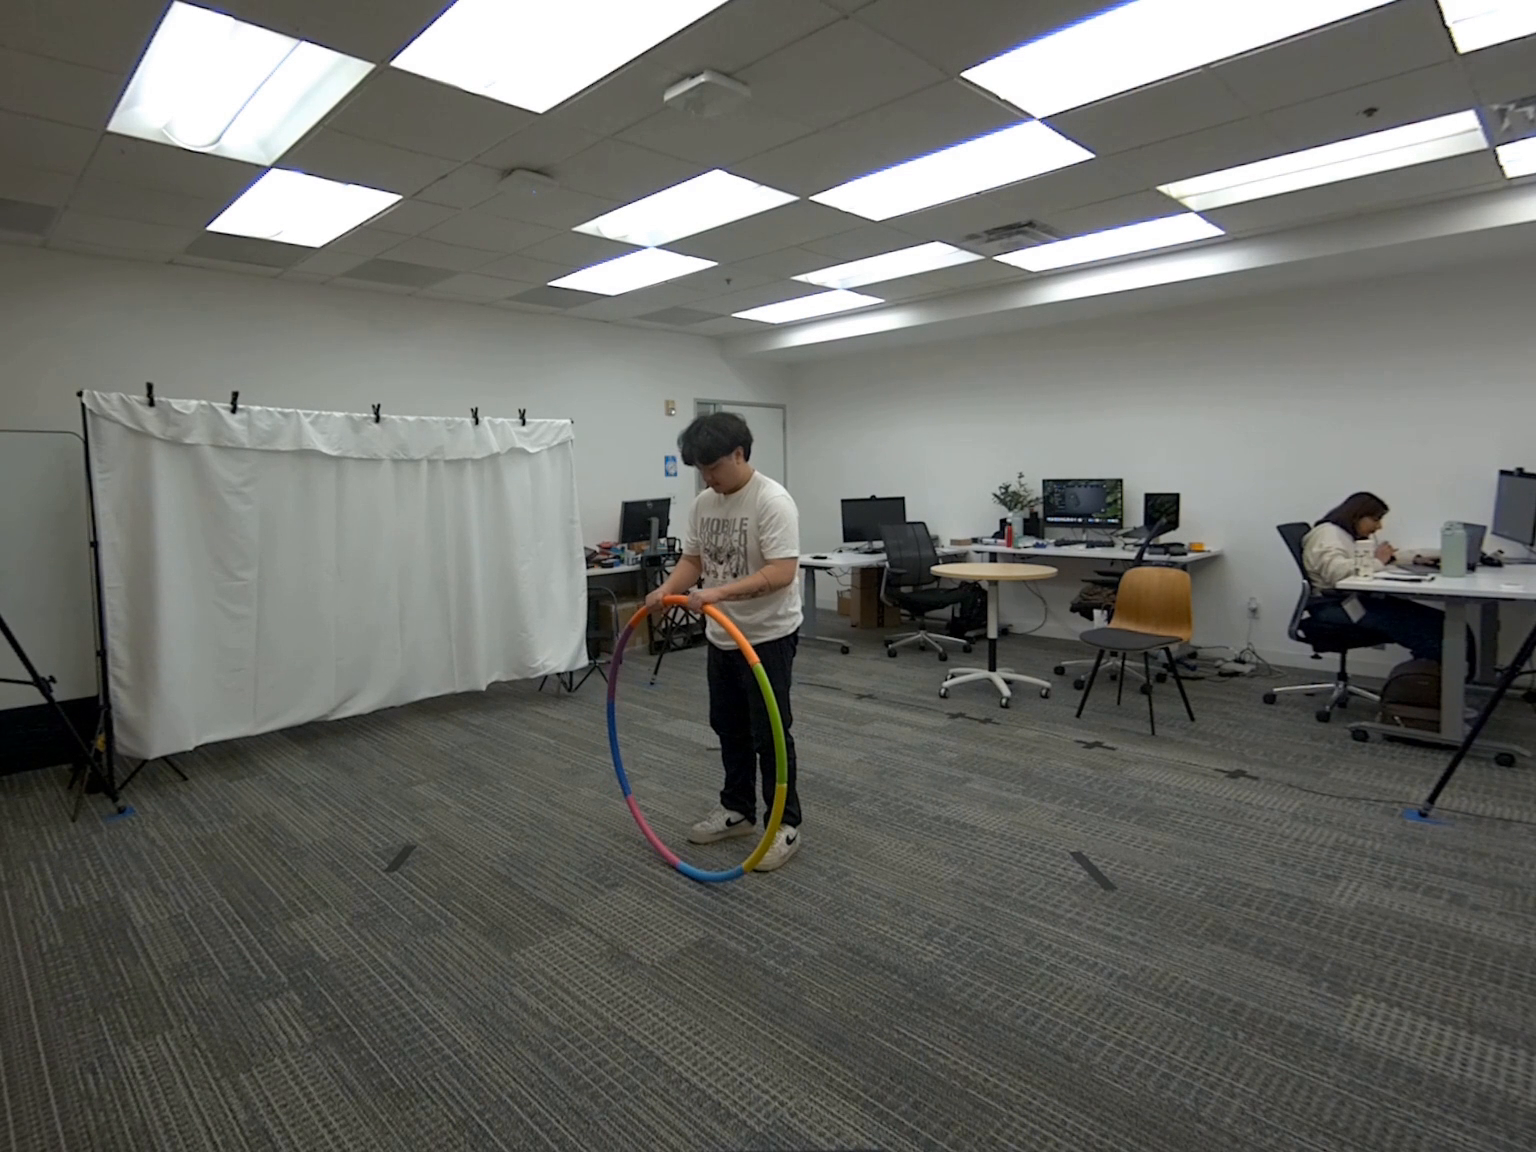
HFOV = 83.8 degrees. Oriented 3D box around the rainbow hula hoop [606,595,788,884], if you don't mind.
[{"bbox_3d":[-0.288,0.563,2.993,0.050,0.982,1.016,-2,5,-42],"label":"rainbow hula hoop"}]
